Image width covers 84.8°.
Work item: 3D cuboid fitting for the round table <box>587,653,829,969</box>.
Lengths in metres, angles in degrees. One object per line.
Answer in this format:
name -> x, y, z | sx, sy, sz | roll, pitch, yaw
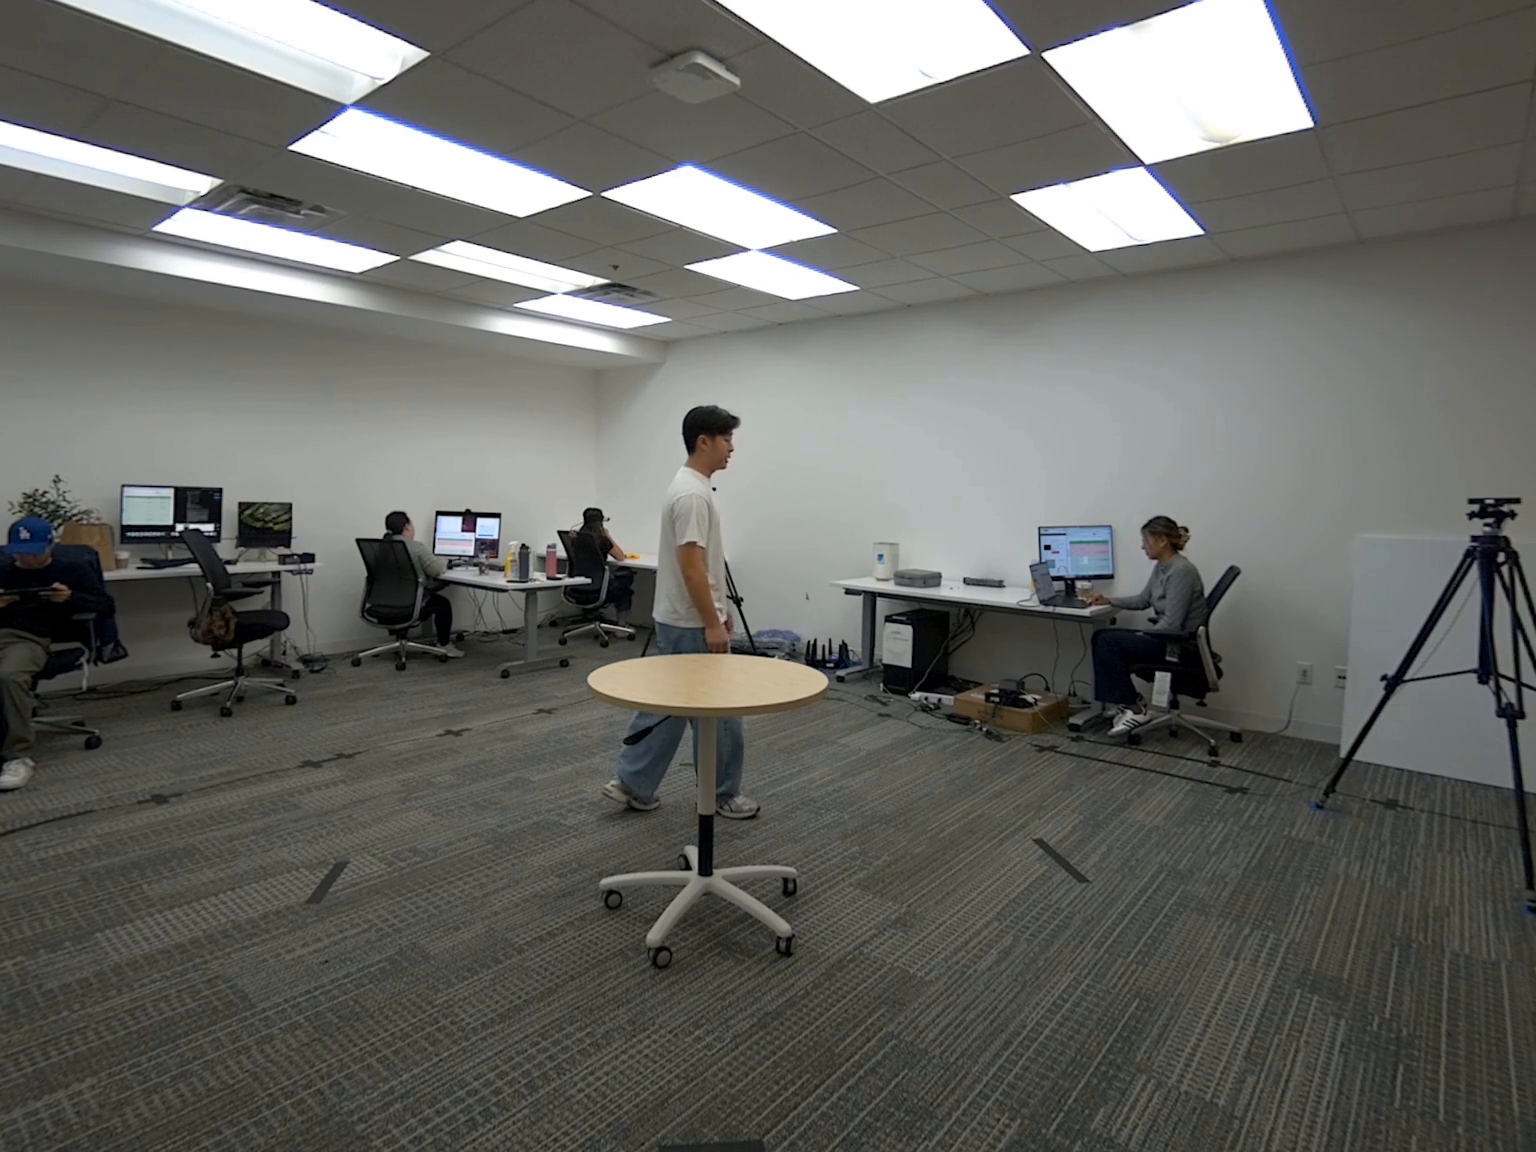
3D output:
round table -> -0.208, 0.713, 2.744 | 0.763, 0.791, 0.768 | 1, 4, -2
